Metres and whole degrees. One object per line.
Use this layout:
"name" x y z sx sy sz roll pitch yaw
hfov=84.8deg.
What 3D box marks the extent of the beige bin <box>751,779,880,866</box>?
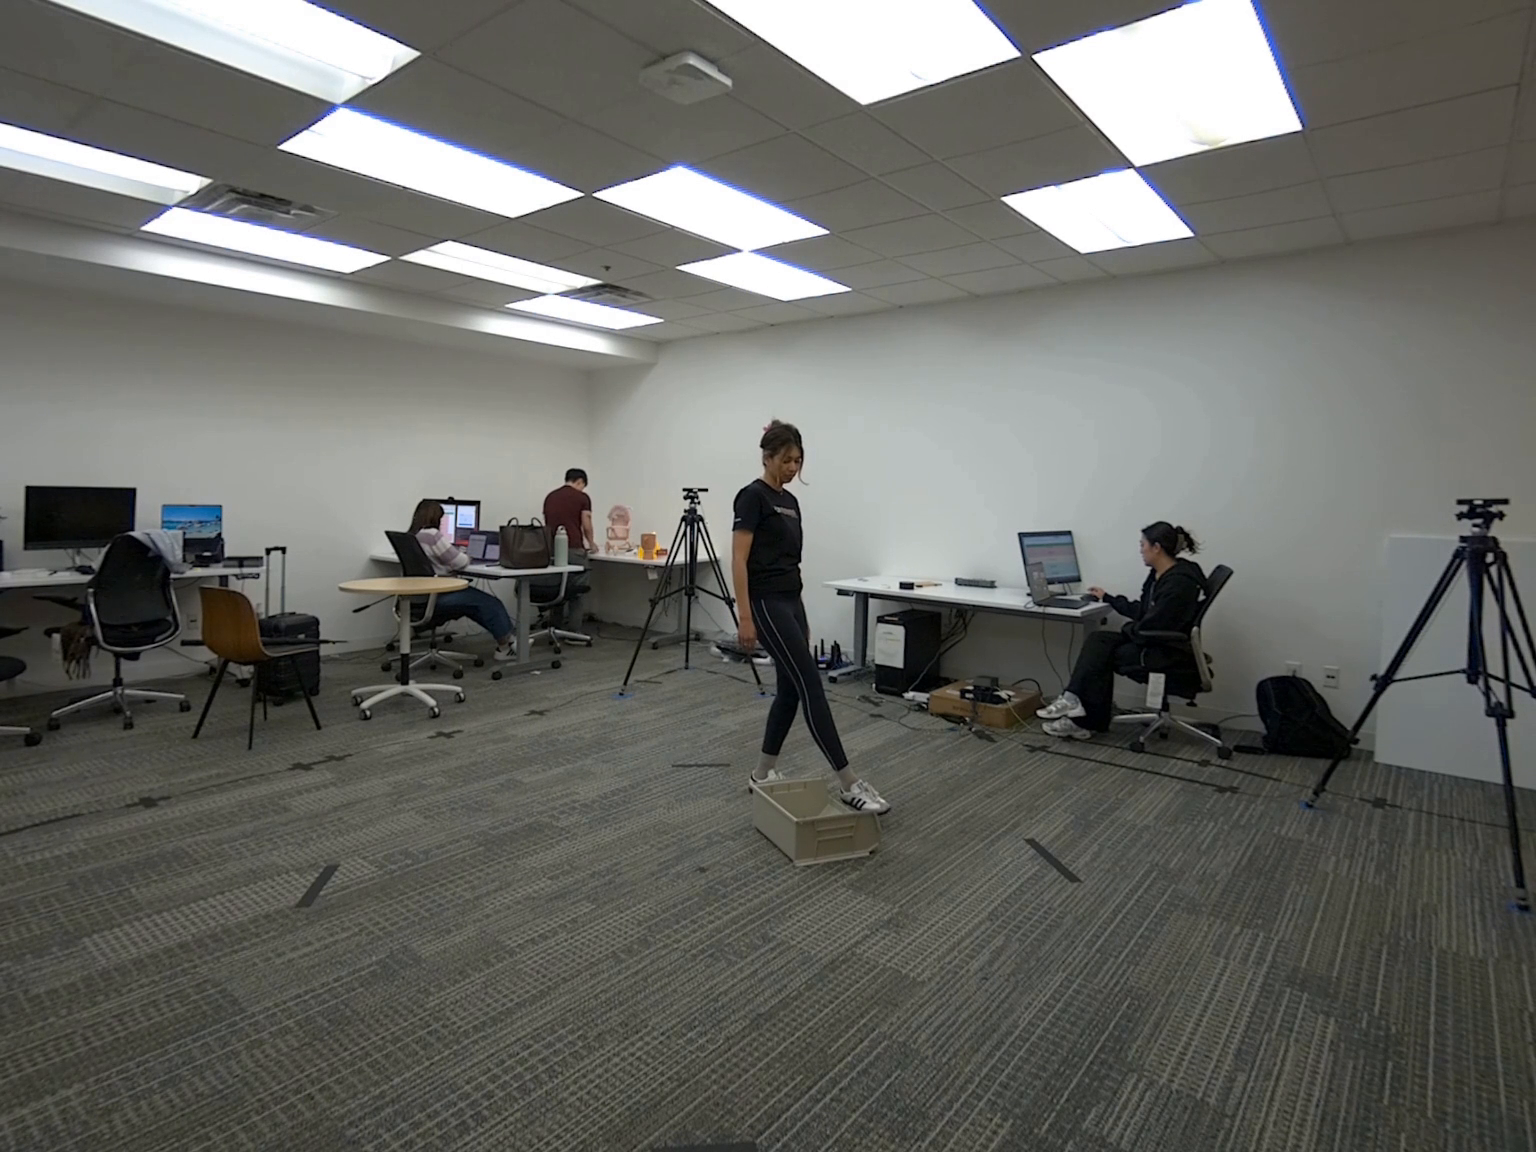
"beige bin" 0.173 0.958 3.397 0.369 0.188 0.434 -3 7 -24
